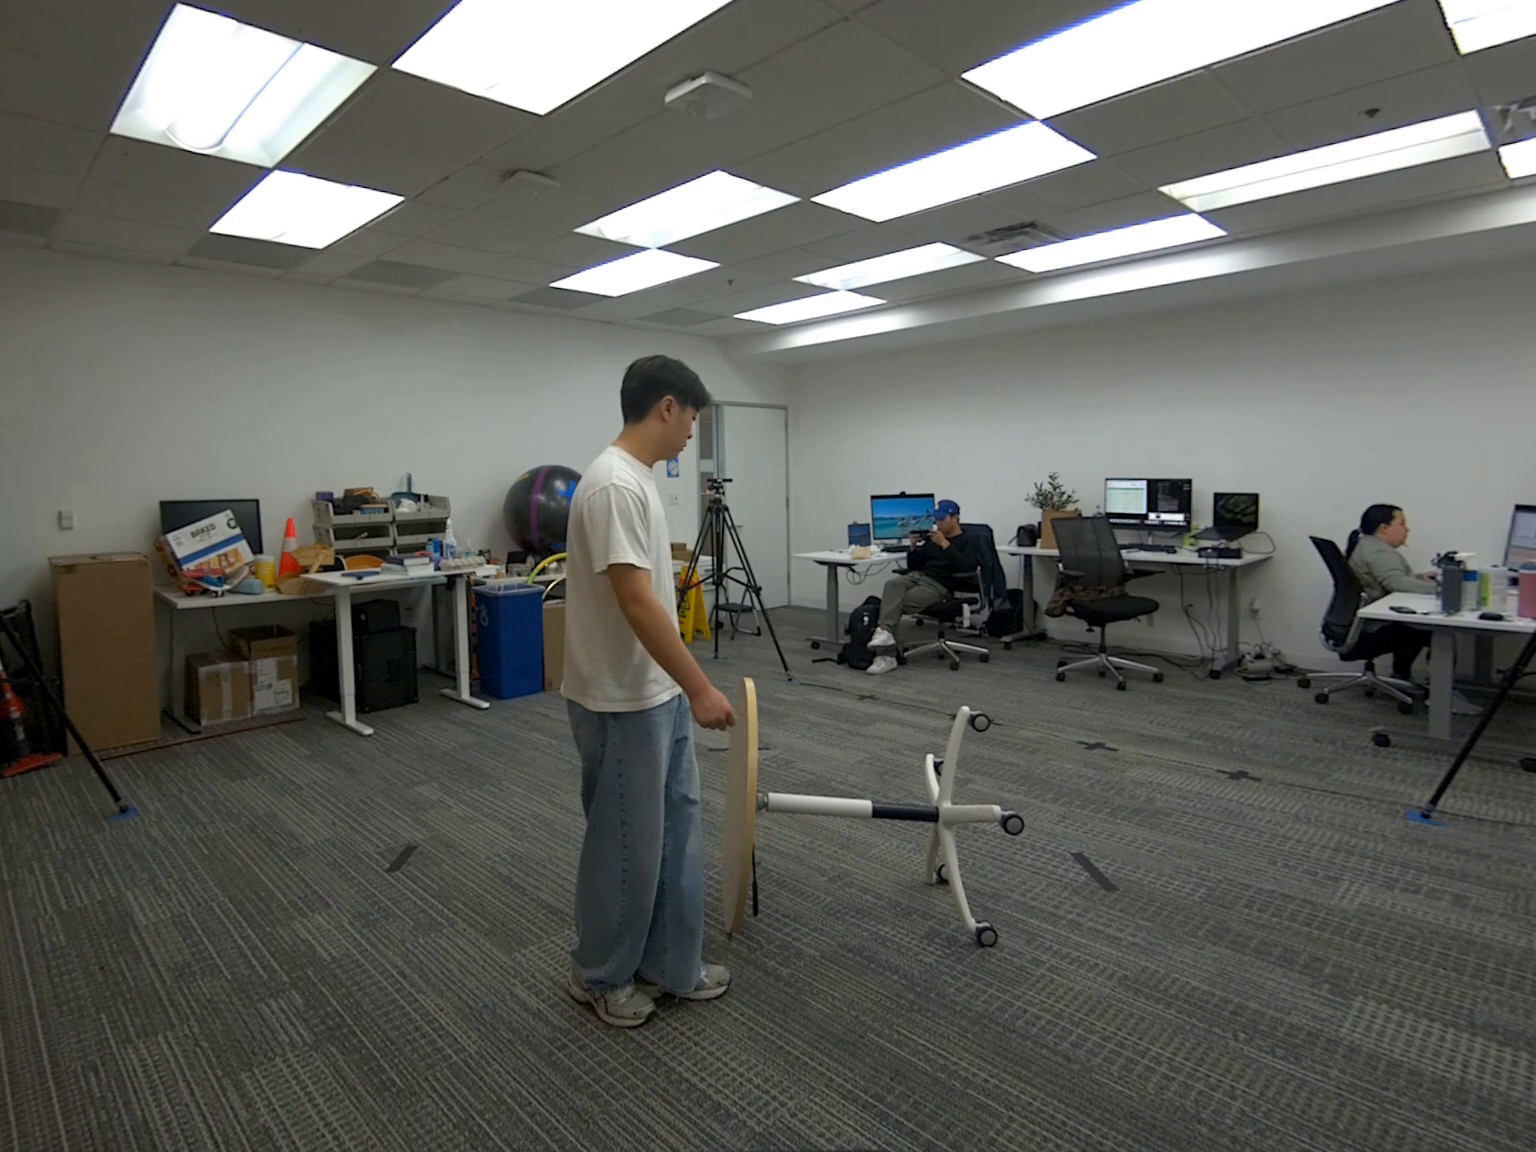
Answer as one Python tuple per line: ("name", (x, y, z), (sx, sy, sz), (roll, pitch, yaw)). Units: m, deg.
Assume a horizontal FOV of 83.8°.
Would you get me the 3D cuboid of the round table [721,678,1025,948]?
("round table", (0.287, 0.734, 2.734), (0.783, 0.782, 0.791), (4, 4, -5))
